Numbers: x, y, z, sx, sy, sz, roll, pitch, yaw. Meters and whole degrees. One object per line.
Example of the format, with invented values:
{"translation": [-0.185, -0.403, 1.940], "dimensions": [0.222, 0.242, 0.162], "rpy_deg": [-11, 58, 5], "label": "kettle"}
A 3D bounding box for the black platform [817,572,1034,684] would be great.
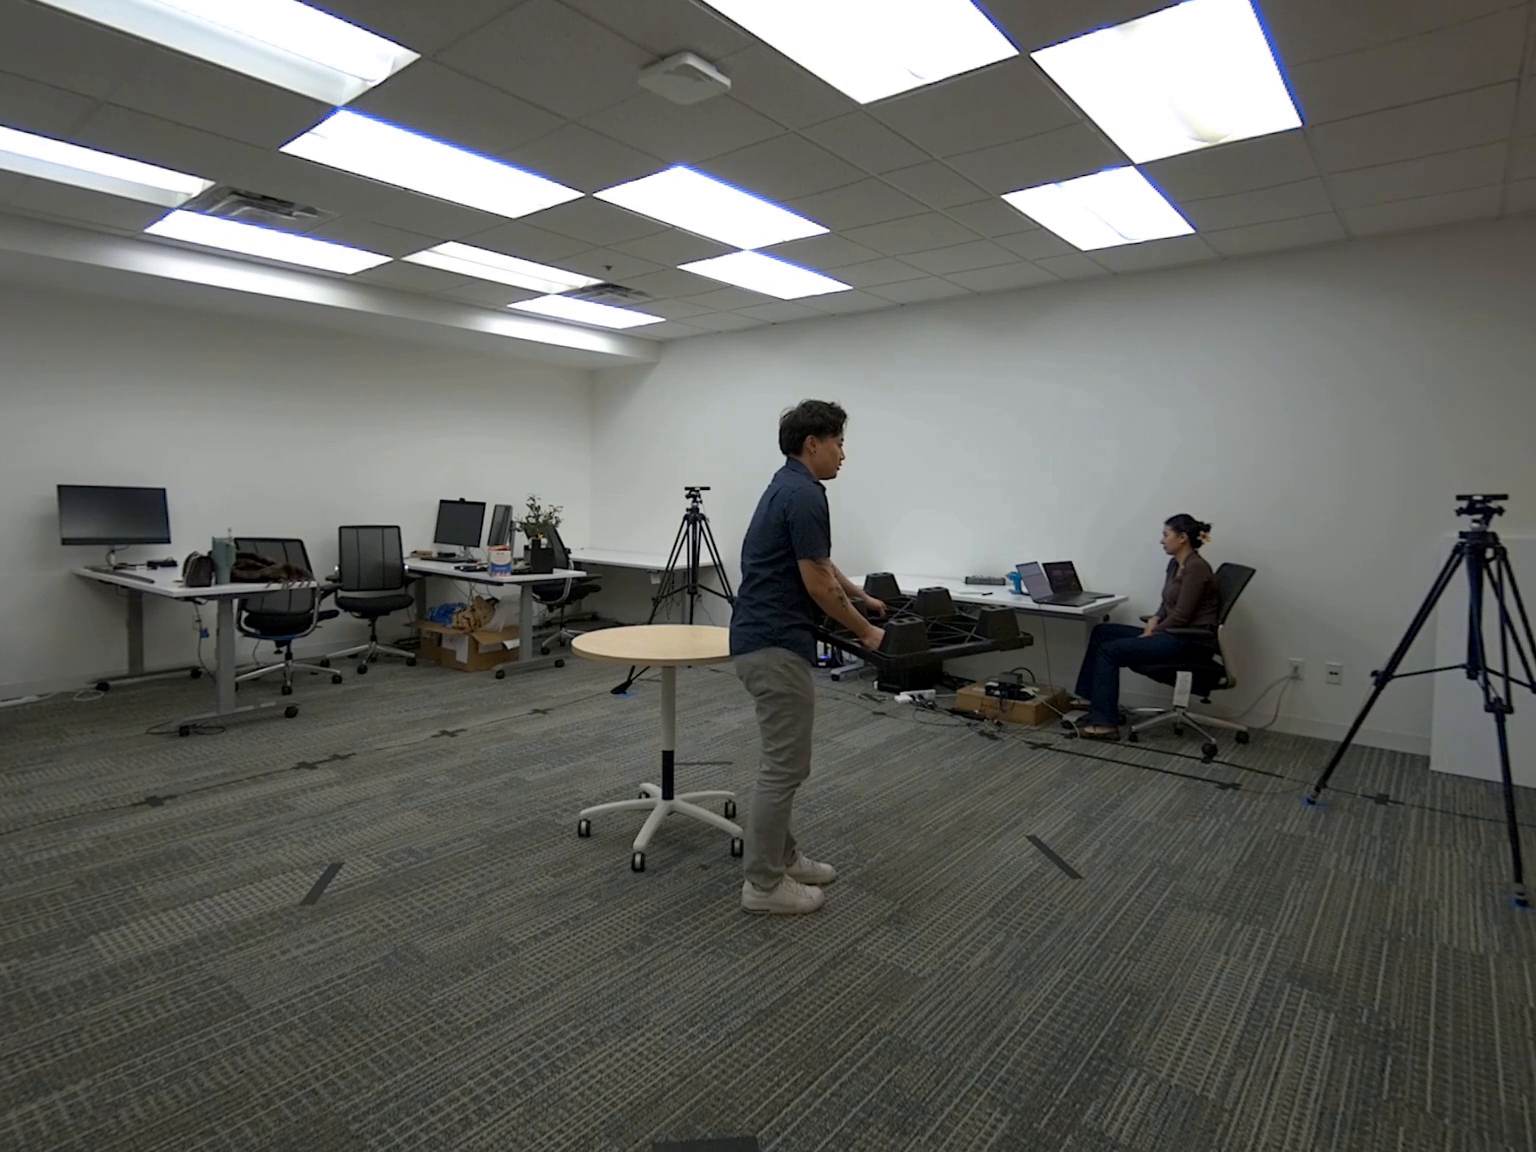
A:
{"translation": [0.454, 0.133, 3.076], "dimensions": [0.592, 0.142, 0.831], "rpy_deg": [-8, 13, -25], "label": "black platform"}
